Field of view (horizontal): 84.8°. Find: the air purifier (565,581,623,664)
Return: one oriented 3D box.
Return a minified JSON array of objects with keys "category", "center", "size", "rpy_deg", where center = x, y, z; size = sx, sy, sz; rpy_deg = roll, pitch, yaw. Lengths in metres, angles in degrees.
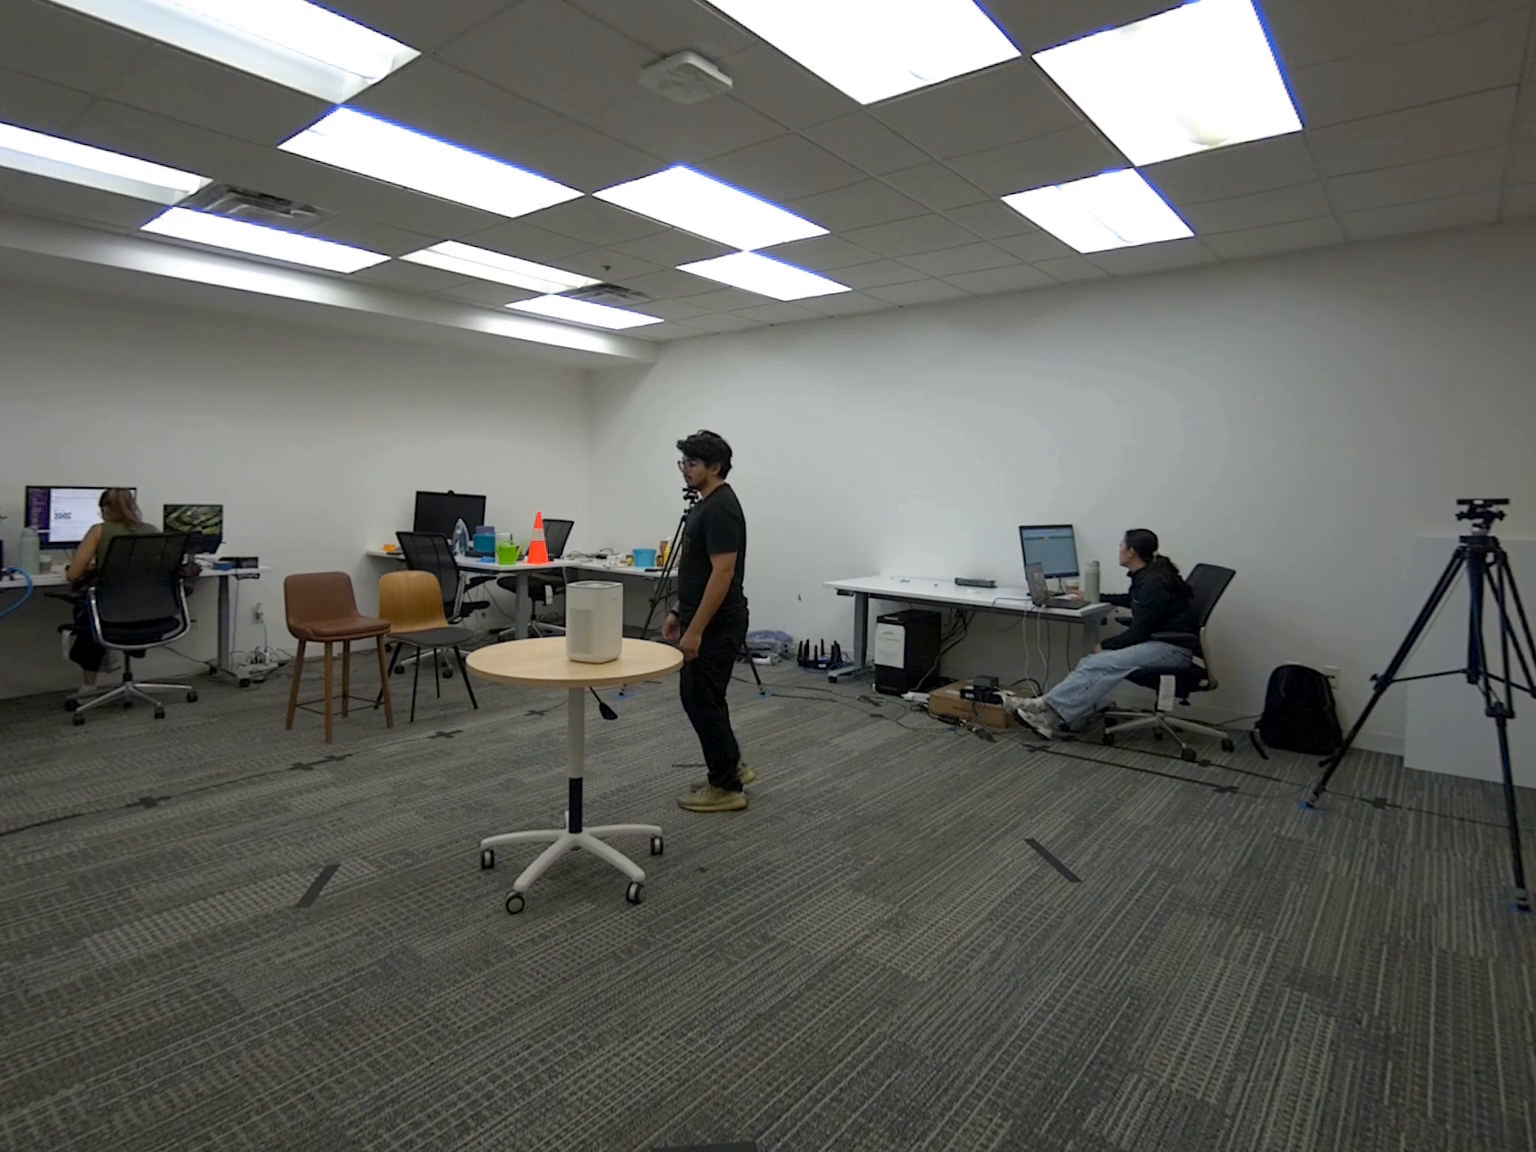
[{"category":"air purifier","center":[-0.620,0.155,2.981],"size":[0.175,0.265,0.168],"rpy_deg":[4,3,19]}]
